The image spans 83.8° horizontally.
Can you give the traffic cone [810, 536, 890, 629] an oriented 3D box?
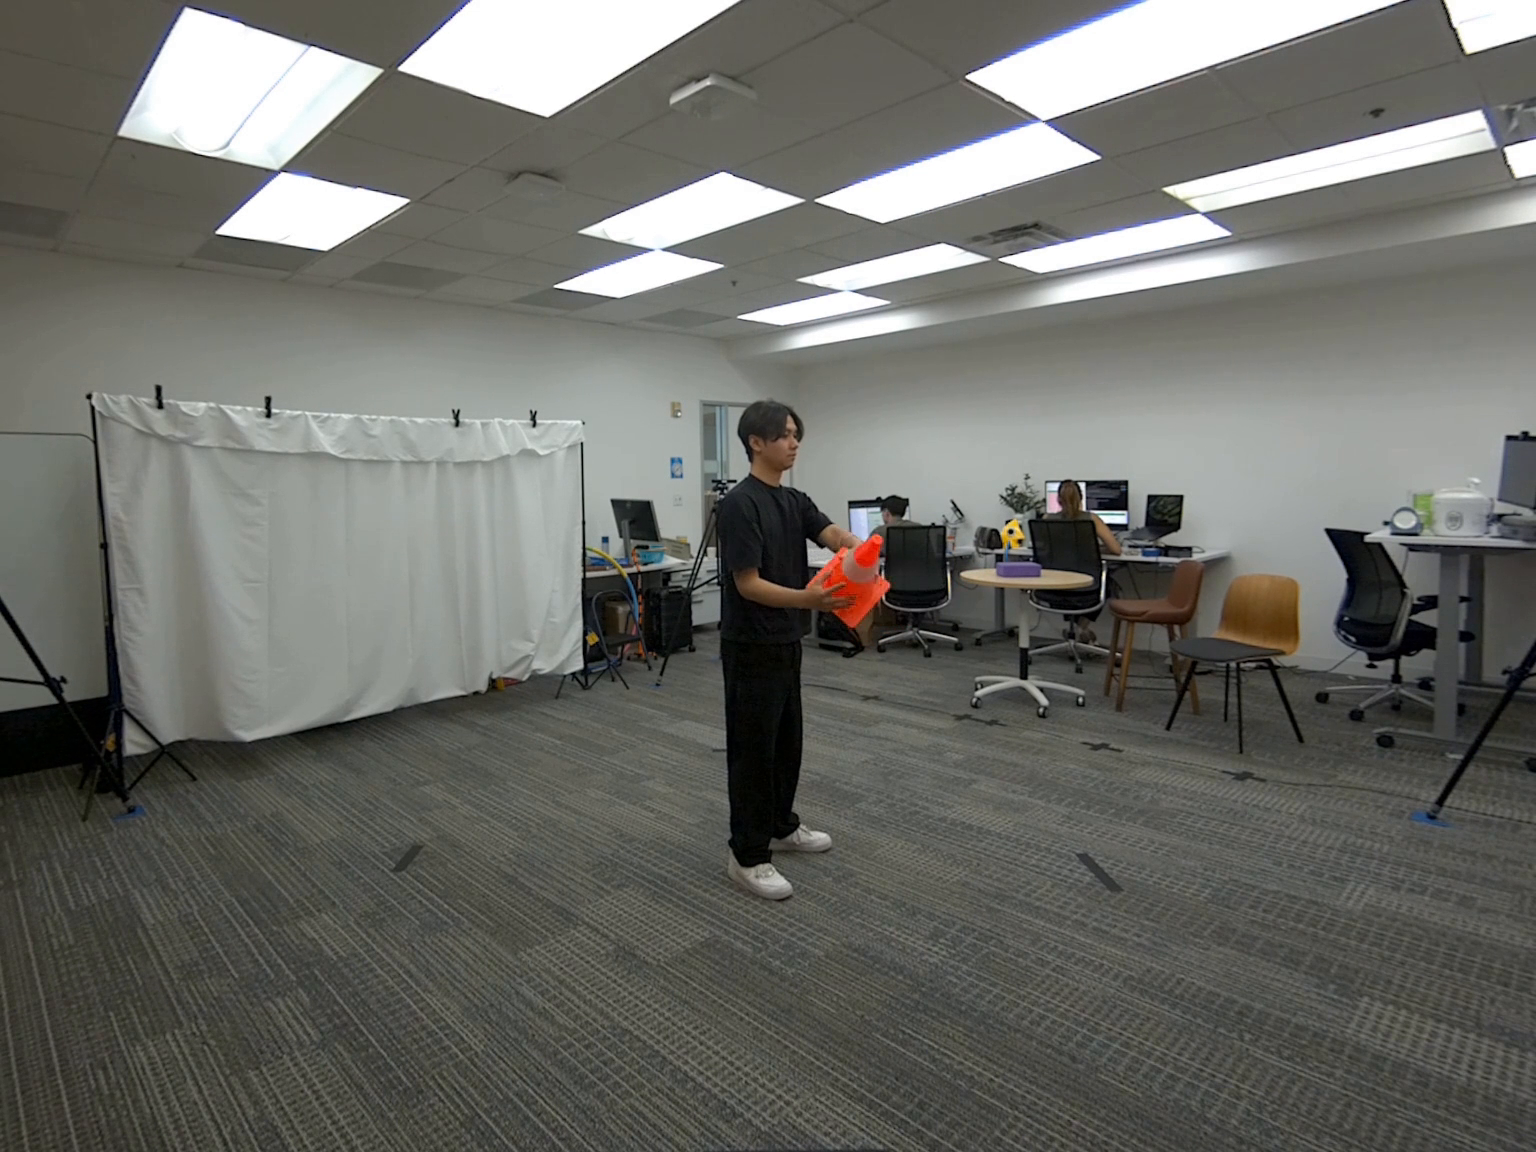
[{"bbox_3d":[0.279,-0.027,2.542,0.202,0.209,0.378,-36,-13,-16],"label":"traffic cone"}]
